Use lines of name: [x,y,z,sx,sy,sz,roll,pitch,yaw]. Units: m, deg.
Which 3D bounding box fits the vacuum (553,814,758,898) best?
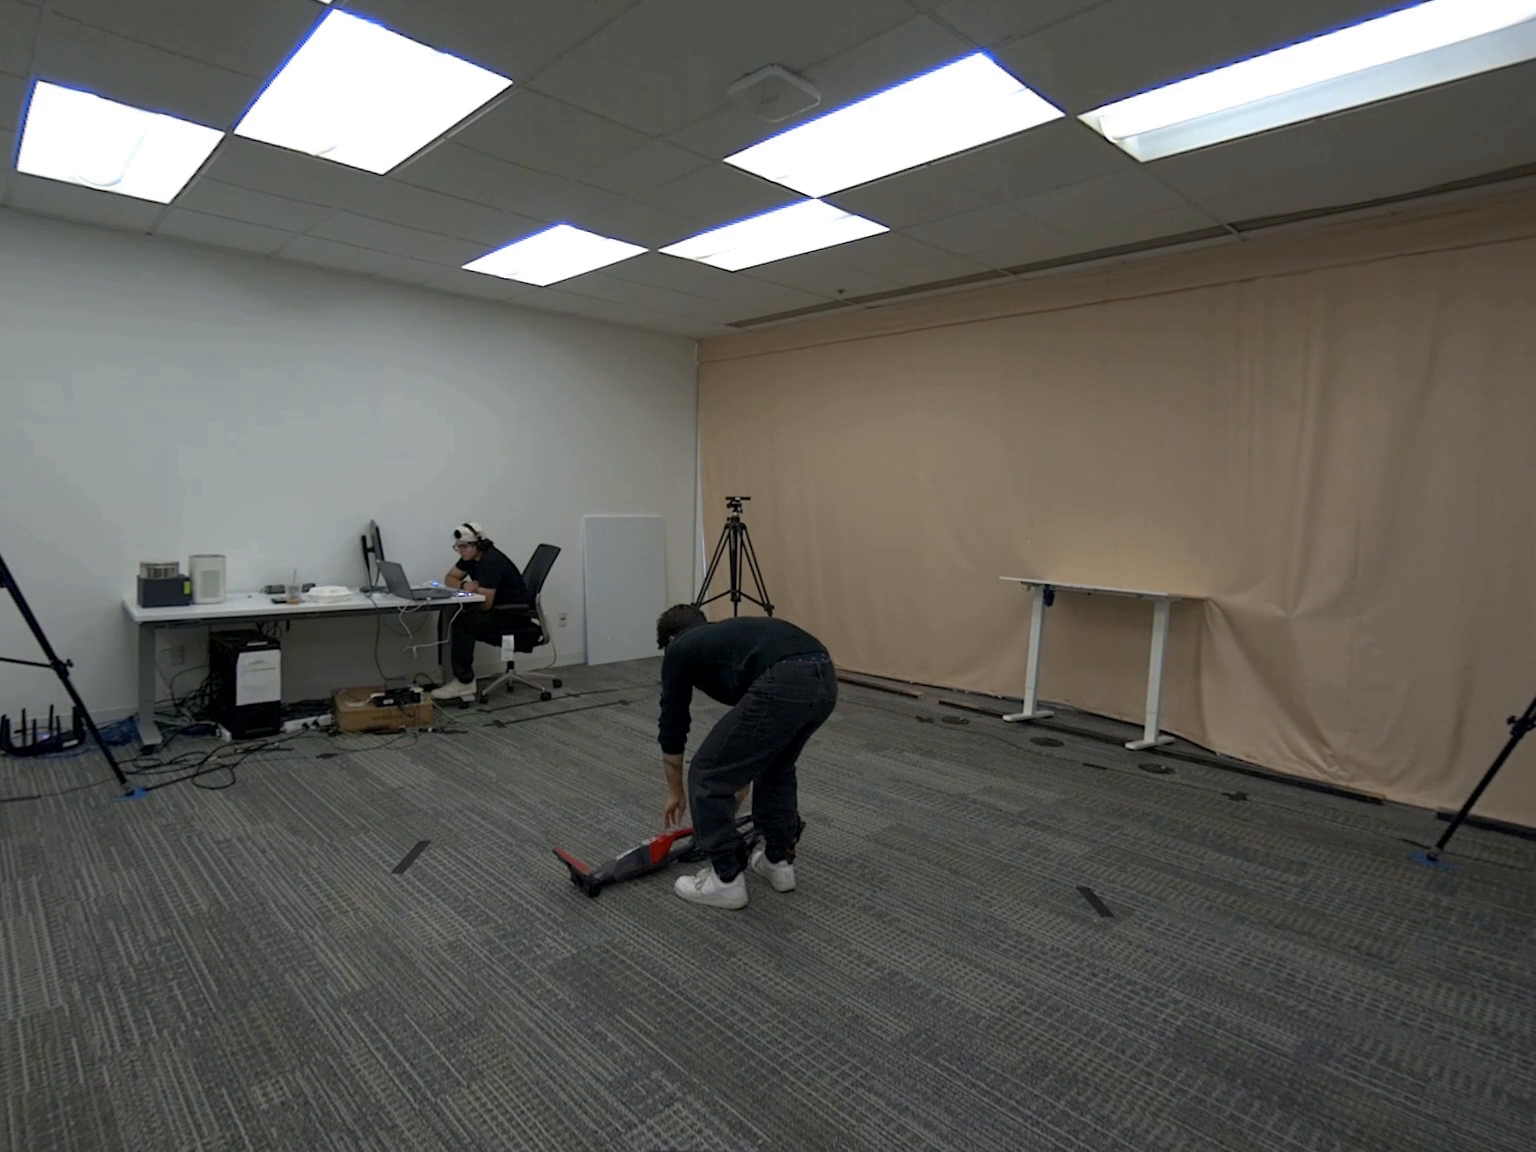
vacuum: [-0.286,1.021,3.276,1.026,0.143,0.259,-2,10,-39]
